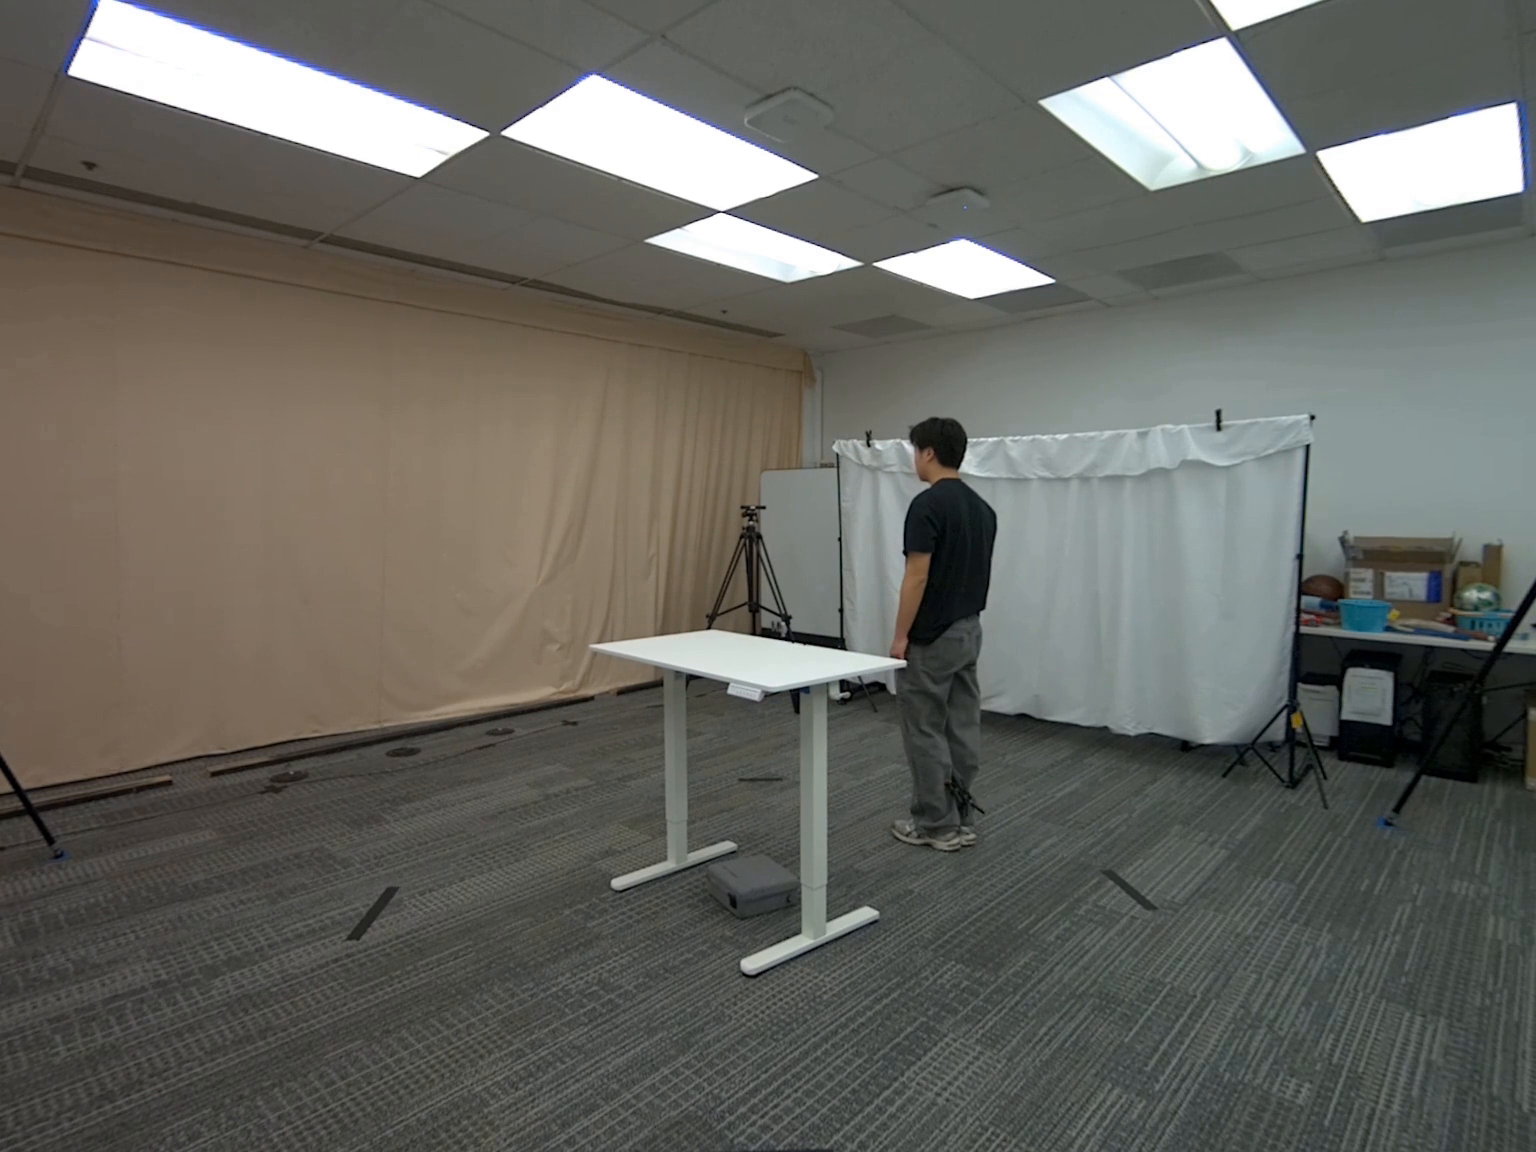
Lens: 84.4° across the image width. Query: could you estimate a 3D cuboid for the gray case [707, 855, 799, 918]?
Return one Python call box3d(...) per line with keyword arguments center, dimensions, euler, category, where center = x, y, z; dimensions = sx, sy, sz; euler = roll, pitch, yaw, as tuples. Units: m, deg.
box3d(center=(-0.057, 1.089, 2.973), dimensions=(0.279, 0.103, 0.271), euler=(-3, 6, -30), category="gray case")
